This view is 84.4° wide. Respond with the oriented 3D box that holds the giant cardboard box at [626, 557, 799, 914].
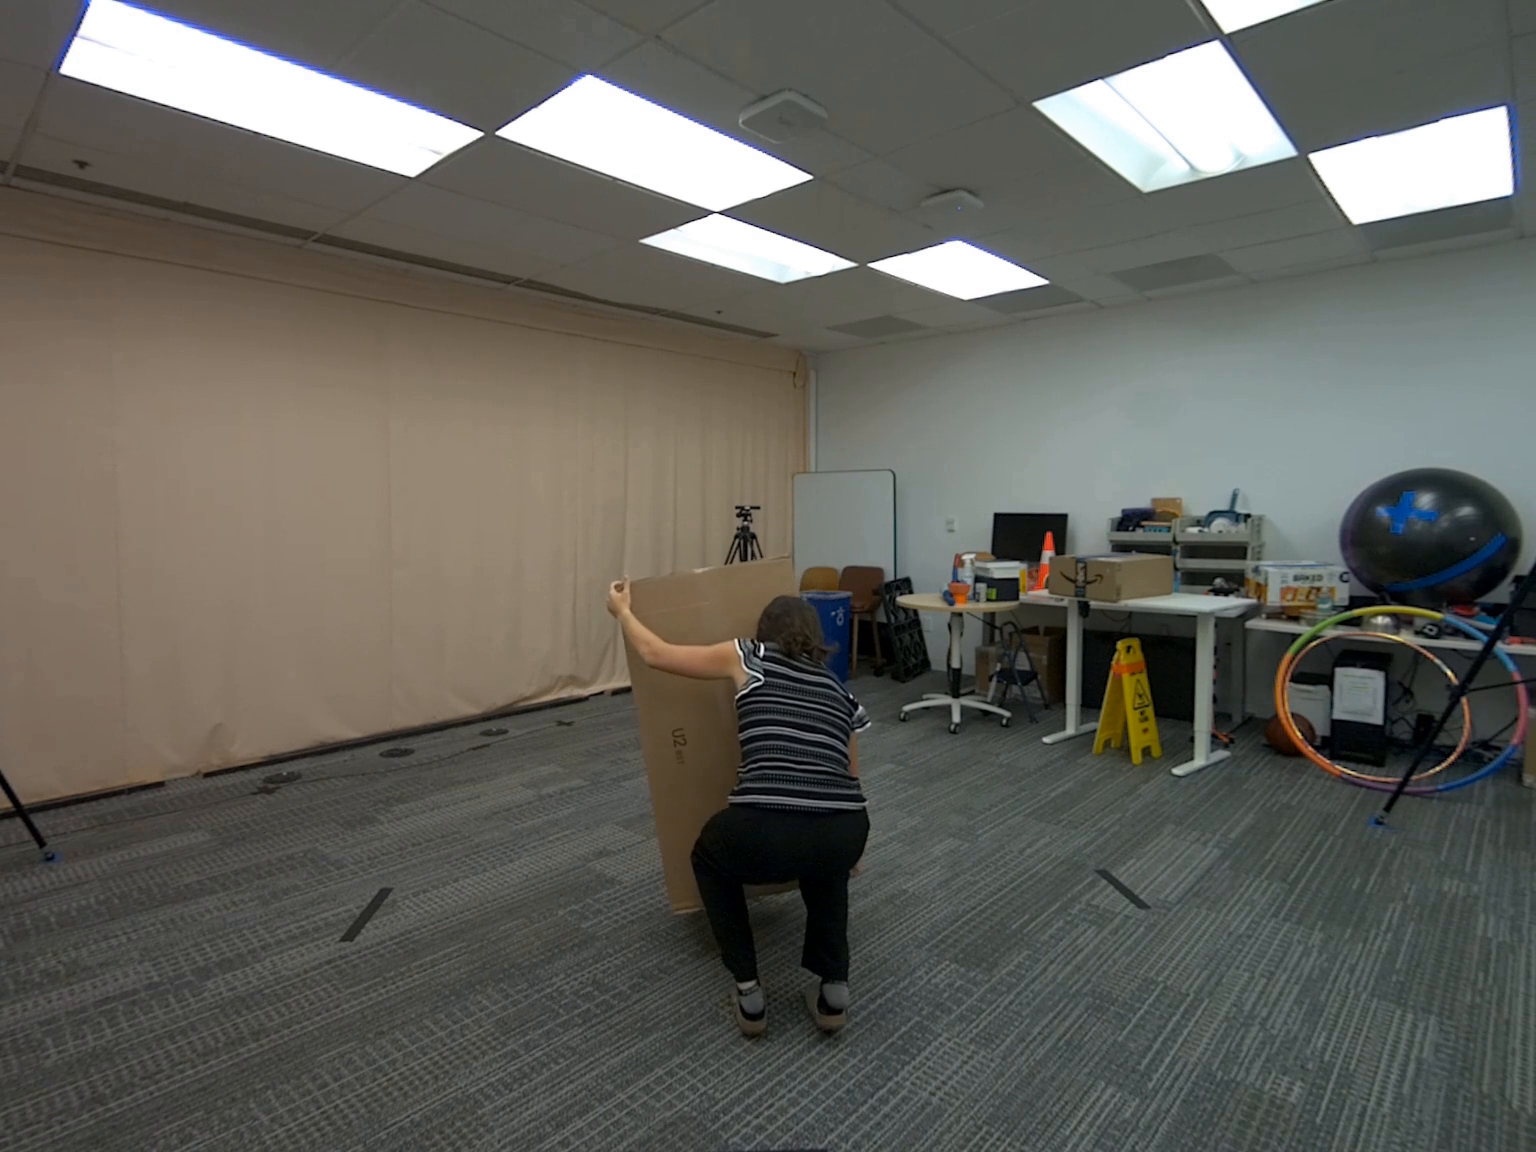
[{"bbox_3d":[-0.136,0.493,2.822,0.574,1.030,0.427,-10,-5,-7],"label":"giant cardboard box"}]
